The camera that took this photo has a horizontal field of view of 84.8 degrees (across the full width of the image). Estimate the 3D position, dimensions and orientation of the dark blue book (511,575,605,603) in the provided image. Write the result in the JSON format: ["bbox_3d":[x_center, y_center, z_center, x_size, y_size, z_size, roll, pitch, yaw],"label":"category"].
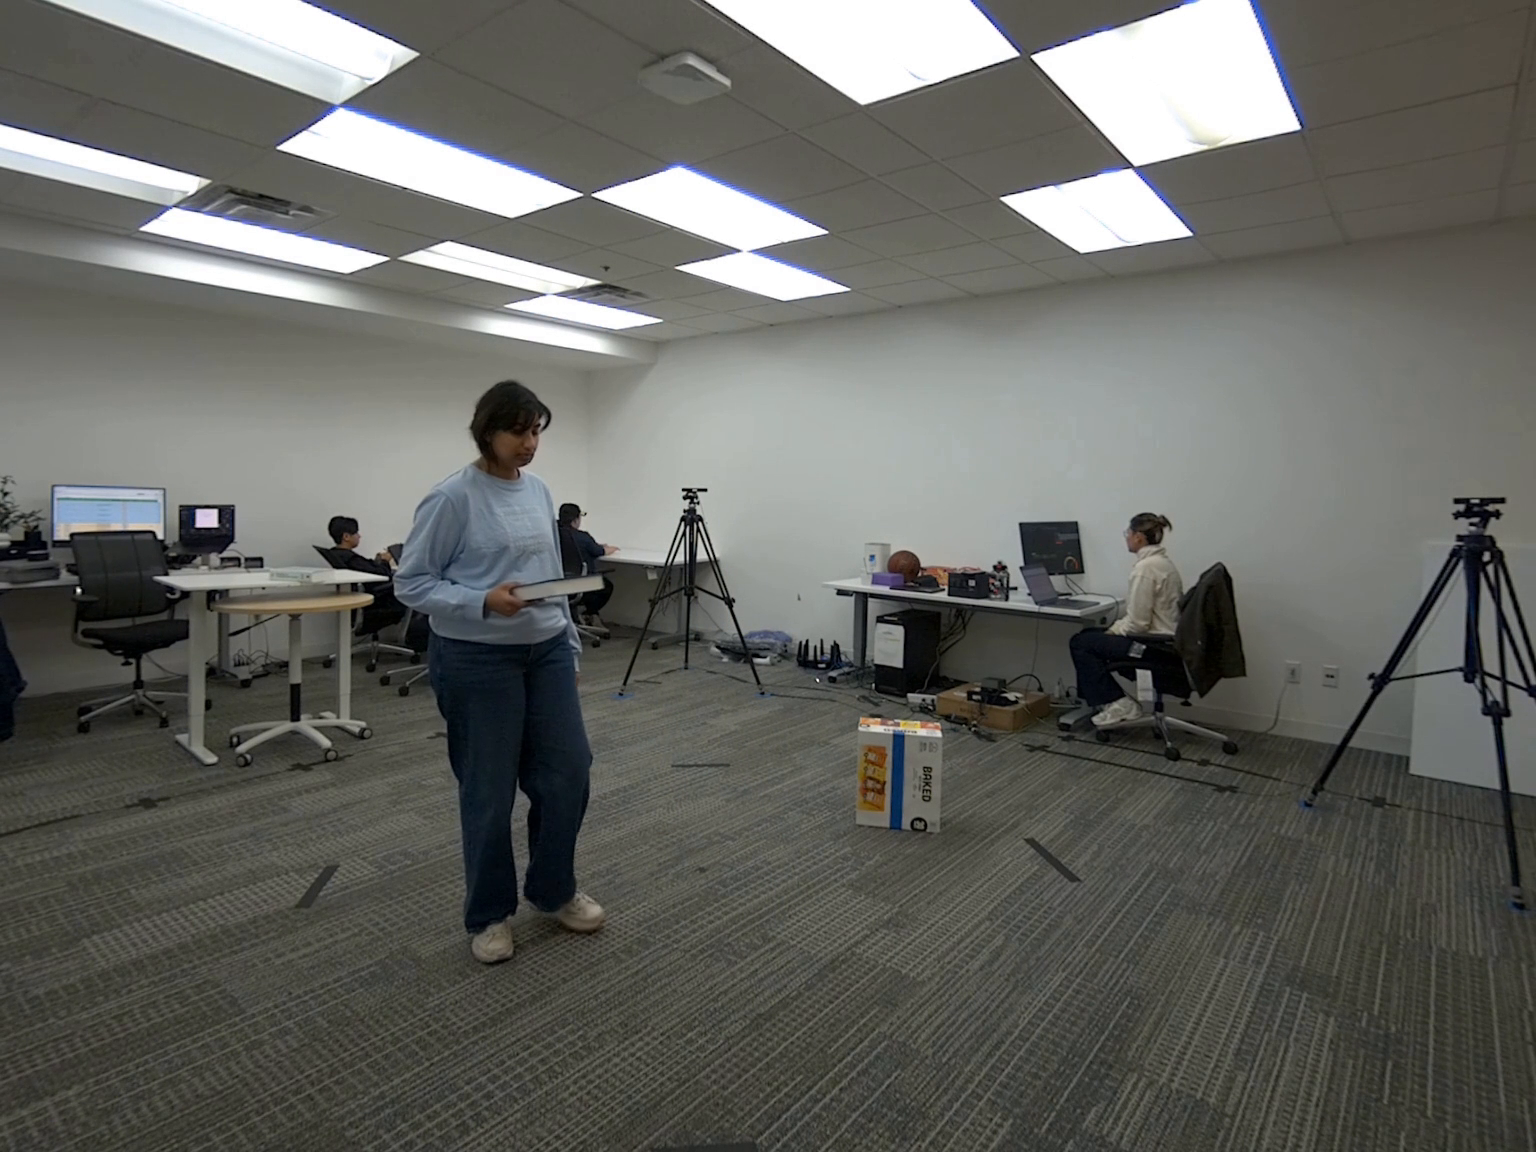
[{"bbox_3d":[-0.603,0.034,2.308,0.252,0.045,0.159,-7,2,45],"label":"dark blue book"}]
